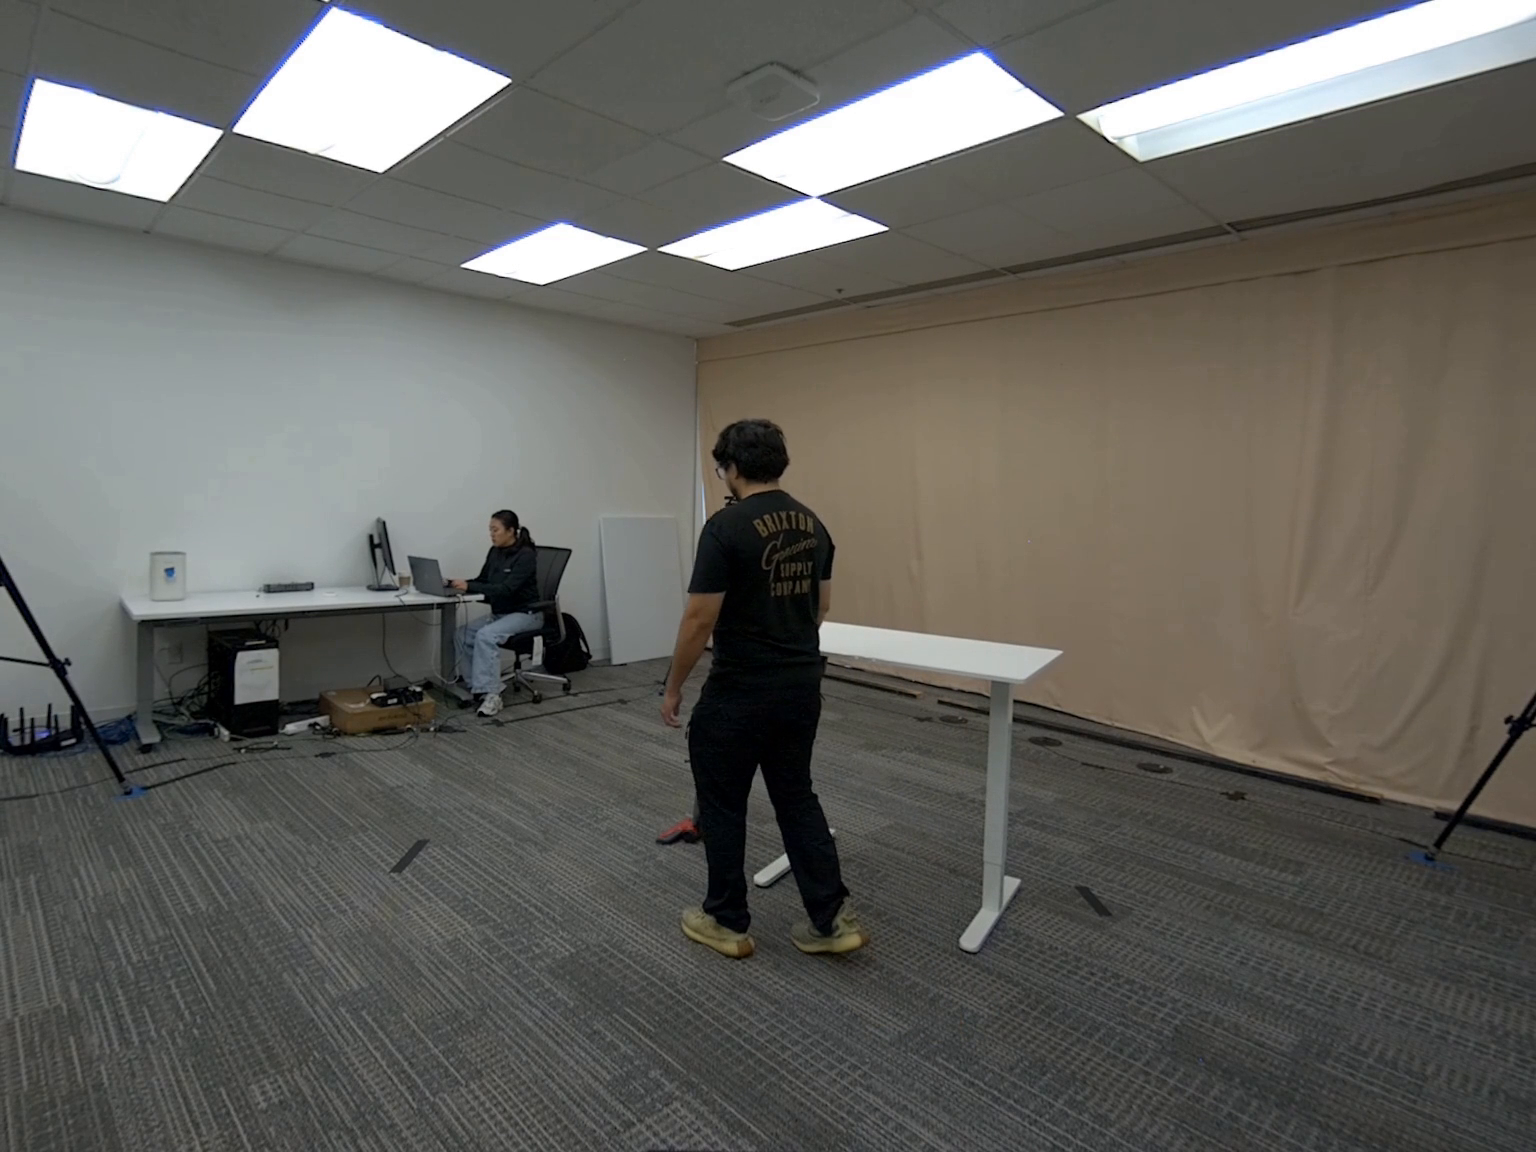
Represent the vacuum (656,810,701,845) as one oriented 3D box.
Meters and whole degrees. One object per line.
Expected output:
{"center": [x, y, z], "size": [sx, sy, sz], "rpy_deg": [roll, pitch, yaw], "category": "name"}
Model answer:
{"center": [-0.146, 0.607, 3.348], "size": [0.147, 1.044, 0.248], "rpy_deg": [29, 14, 21], "category": "vacuum"}
